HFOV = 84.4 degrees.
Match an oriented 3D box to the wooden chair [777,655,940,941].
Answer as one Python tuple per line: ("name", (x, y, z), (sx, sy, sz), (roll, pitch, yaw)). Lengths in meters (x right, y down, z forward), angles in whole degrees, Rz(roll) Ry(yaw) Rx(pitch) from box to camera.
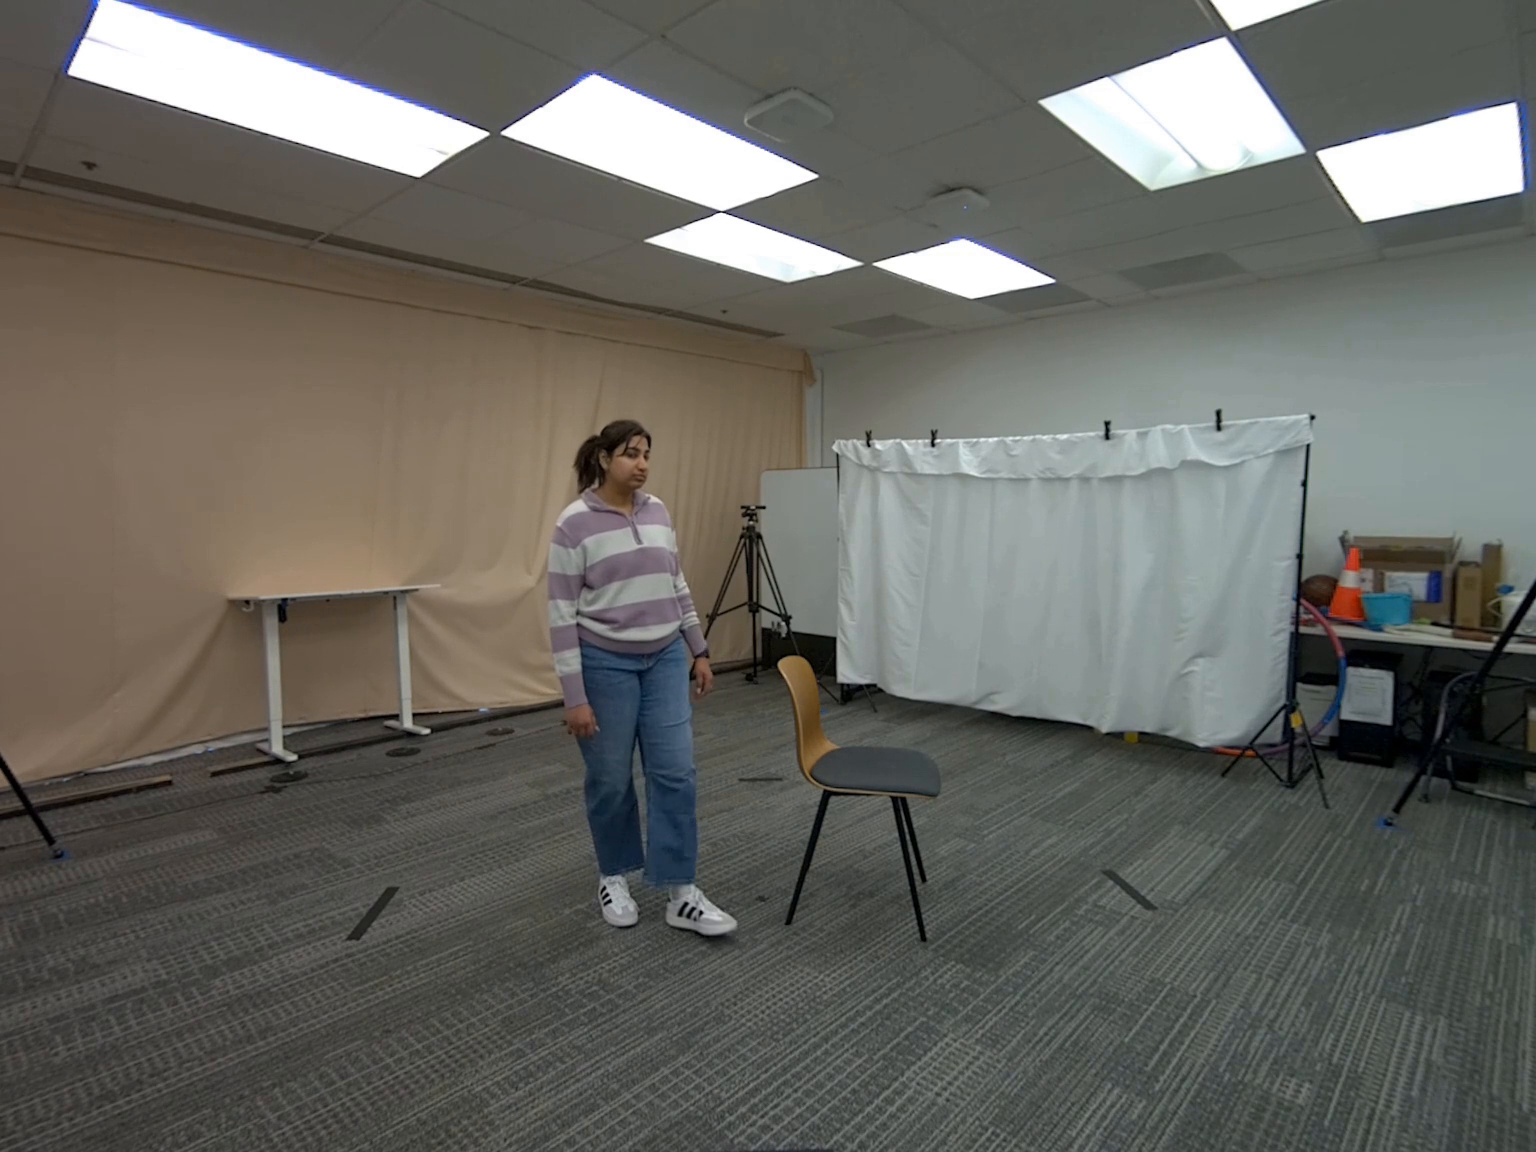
("wooden chair", (0.335, 0.720, 2.916), (0.531, 0.876, 0.472), (-3, 2, 13))
